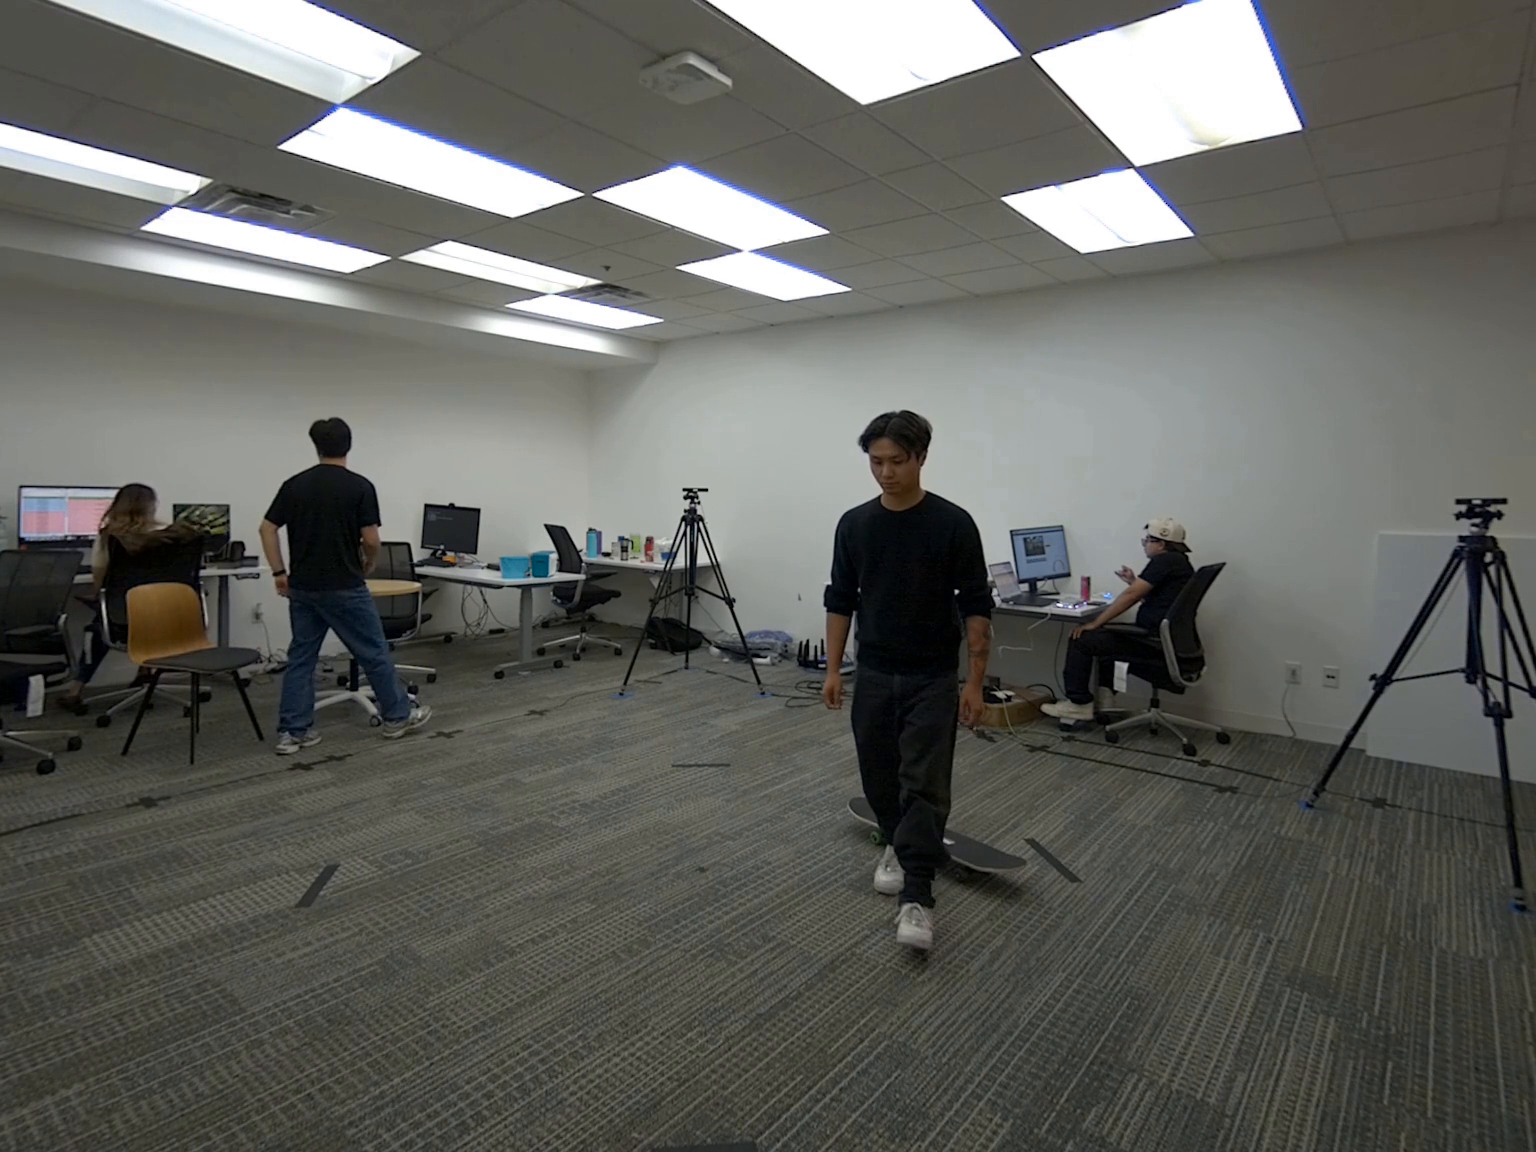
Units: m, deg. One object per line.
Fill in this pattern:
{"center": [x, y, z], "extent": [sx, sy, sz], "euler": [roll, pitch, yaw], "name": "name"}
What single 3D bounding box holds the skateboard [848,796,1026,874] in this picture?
{"center": [0.613, 1.014, 3.260], "extent": [0.188, 0.110, 0.813], "euler": [-3, 7, -40], "name": "skateboard"}
